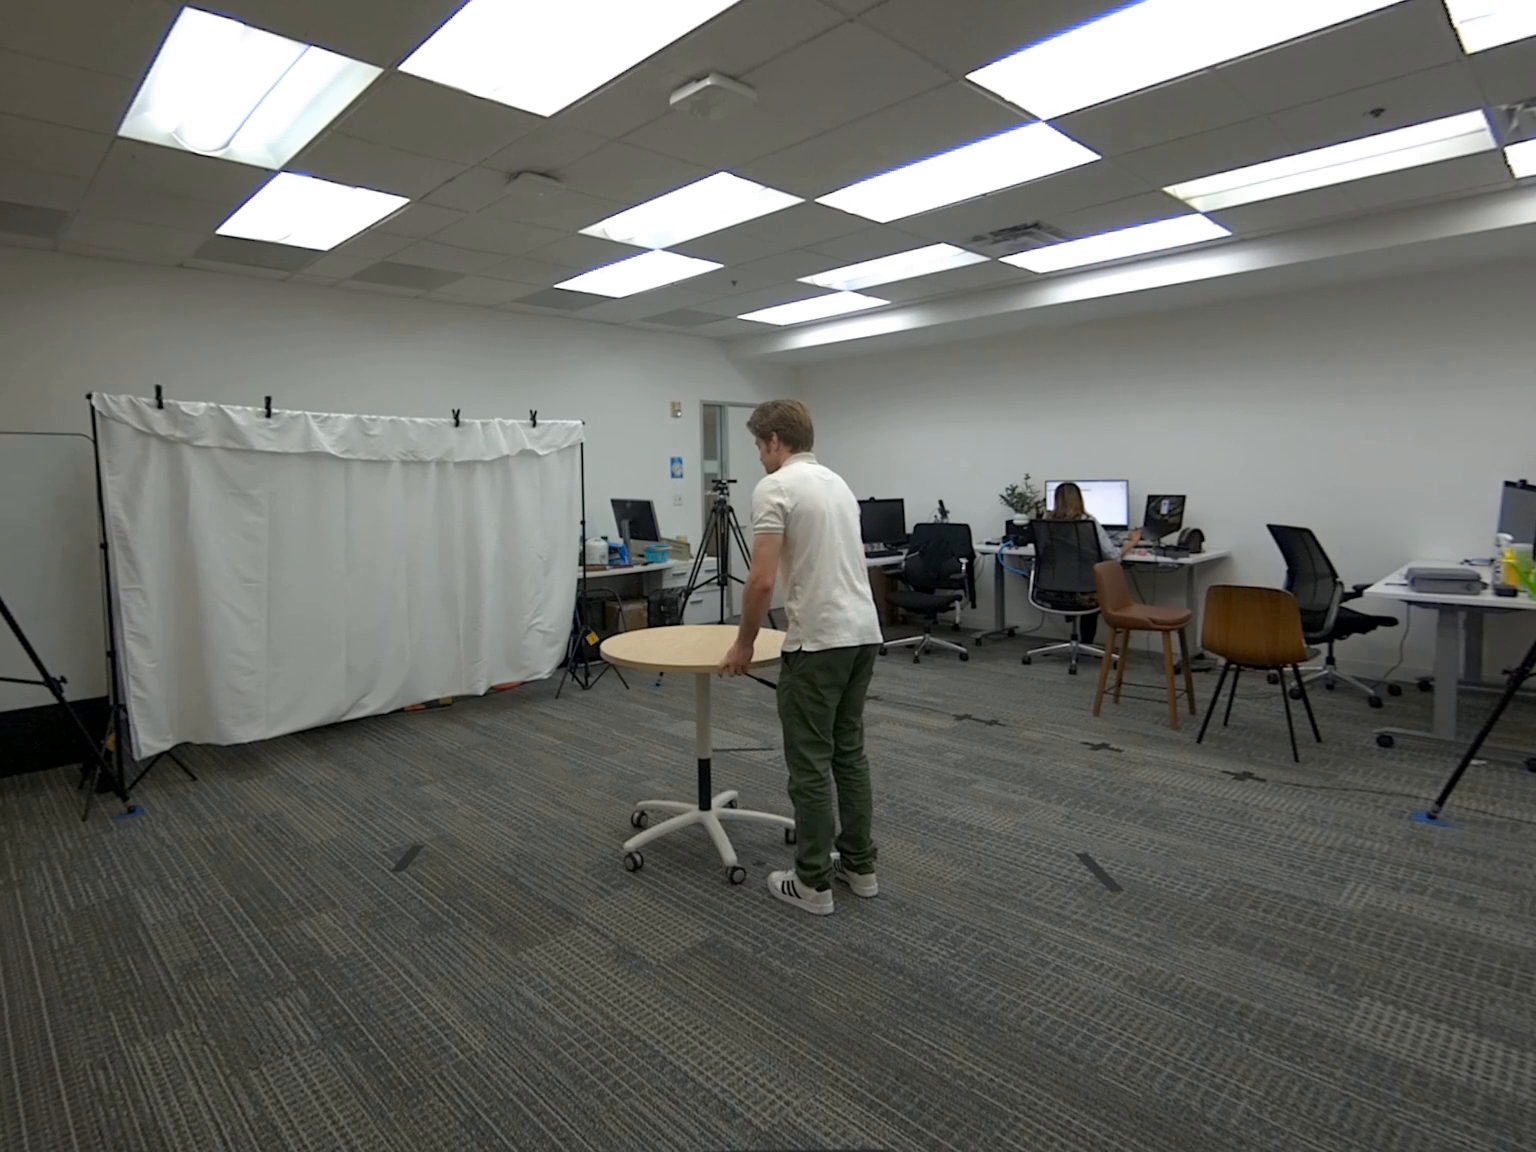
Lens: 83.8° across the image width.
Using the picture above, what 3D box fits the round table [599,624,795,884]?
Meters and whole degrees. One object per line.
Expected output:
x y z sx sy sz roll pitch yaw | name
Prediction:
-0.248 0.644 3.261 0.763 0.791 0.768 -1 5 -2 | round table
